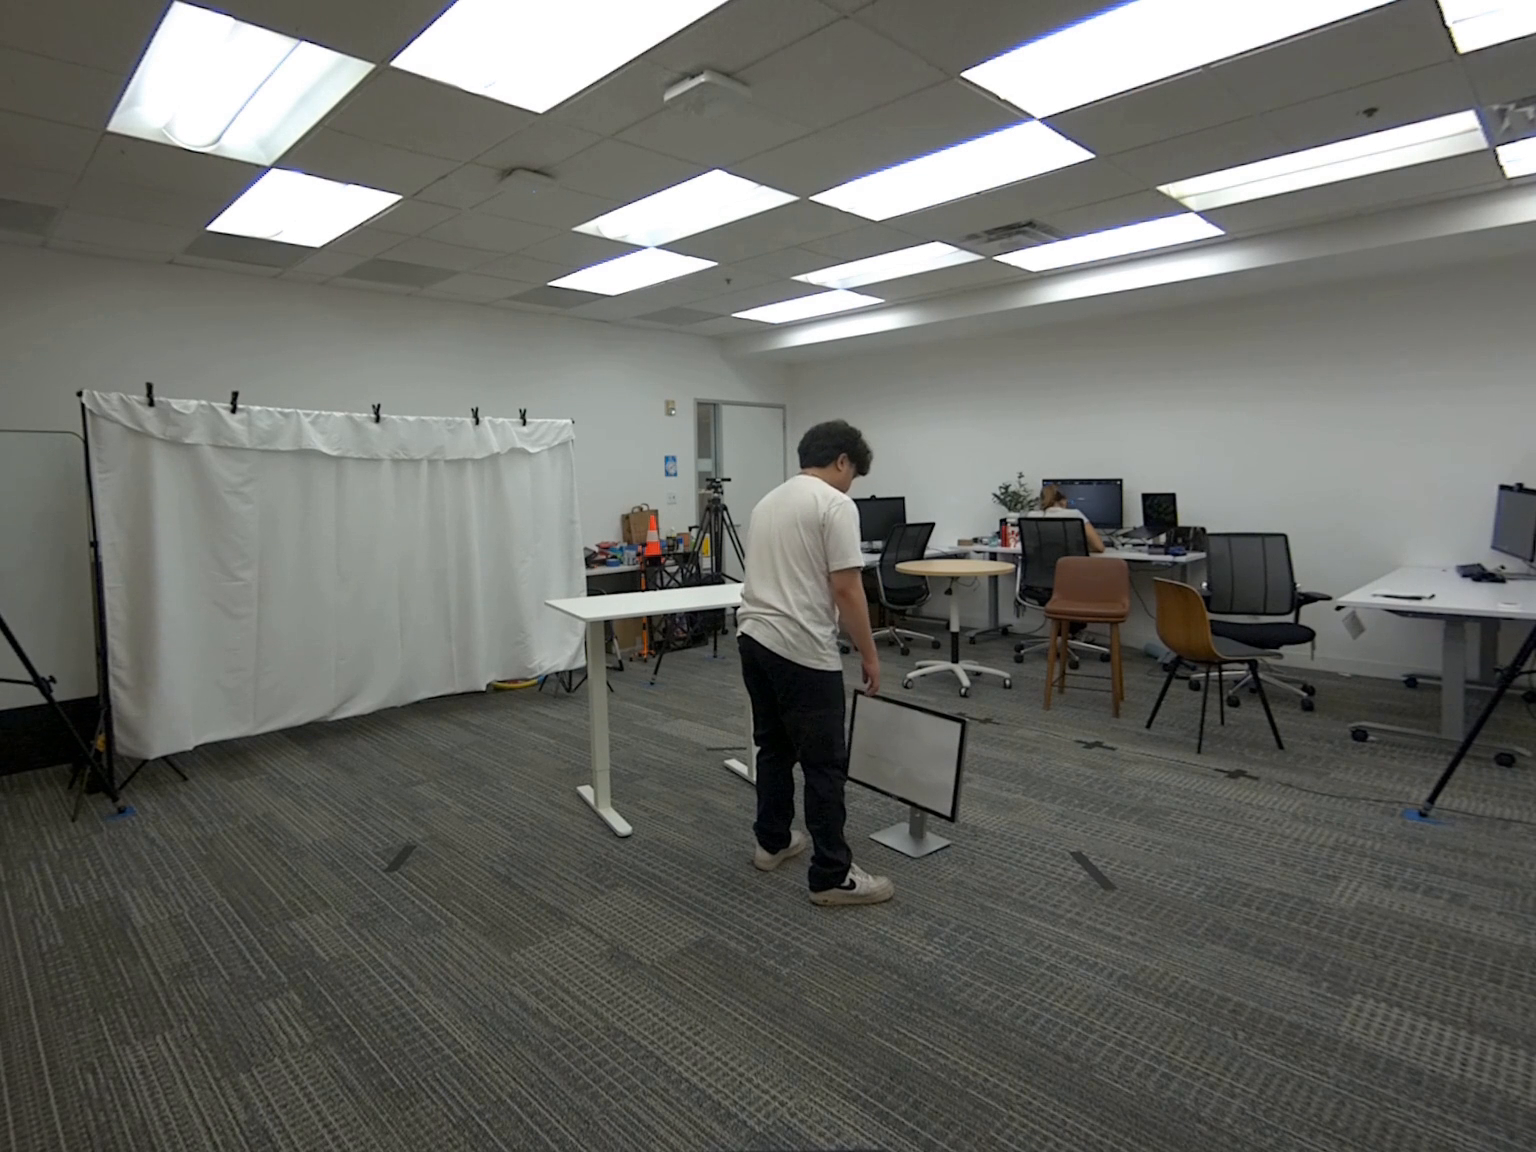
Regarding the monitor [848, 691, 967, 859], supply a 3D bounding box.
[{"bbox_3d":[0.561,0.752,3.264,0.204,0.554,0.582,2,2,-37],"label":"monitor"}]
